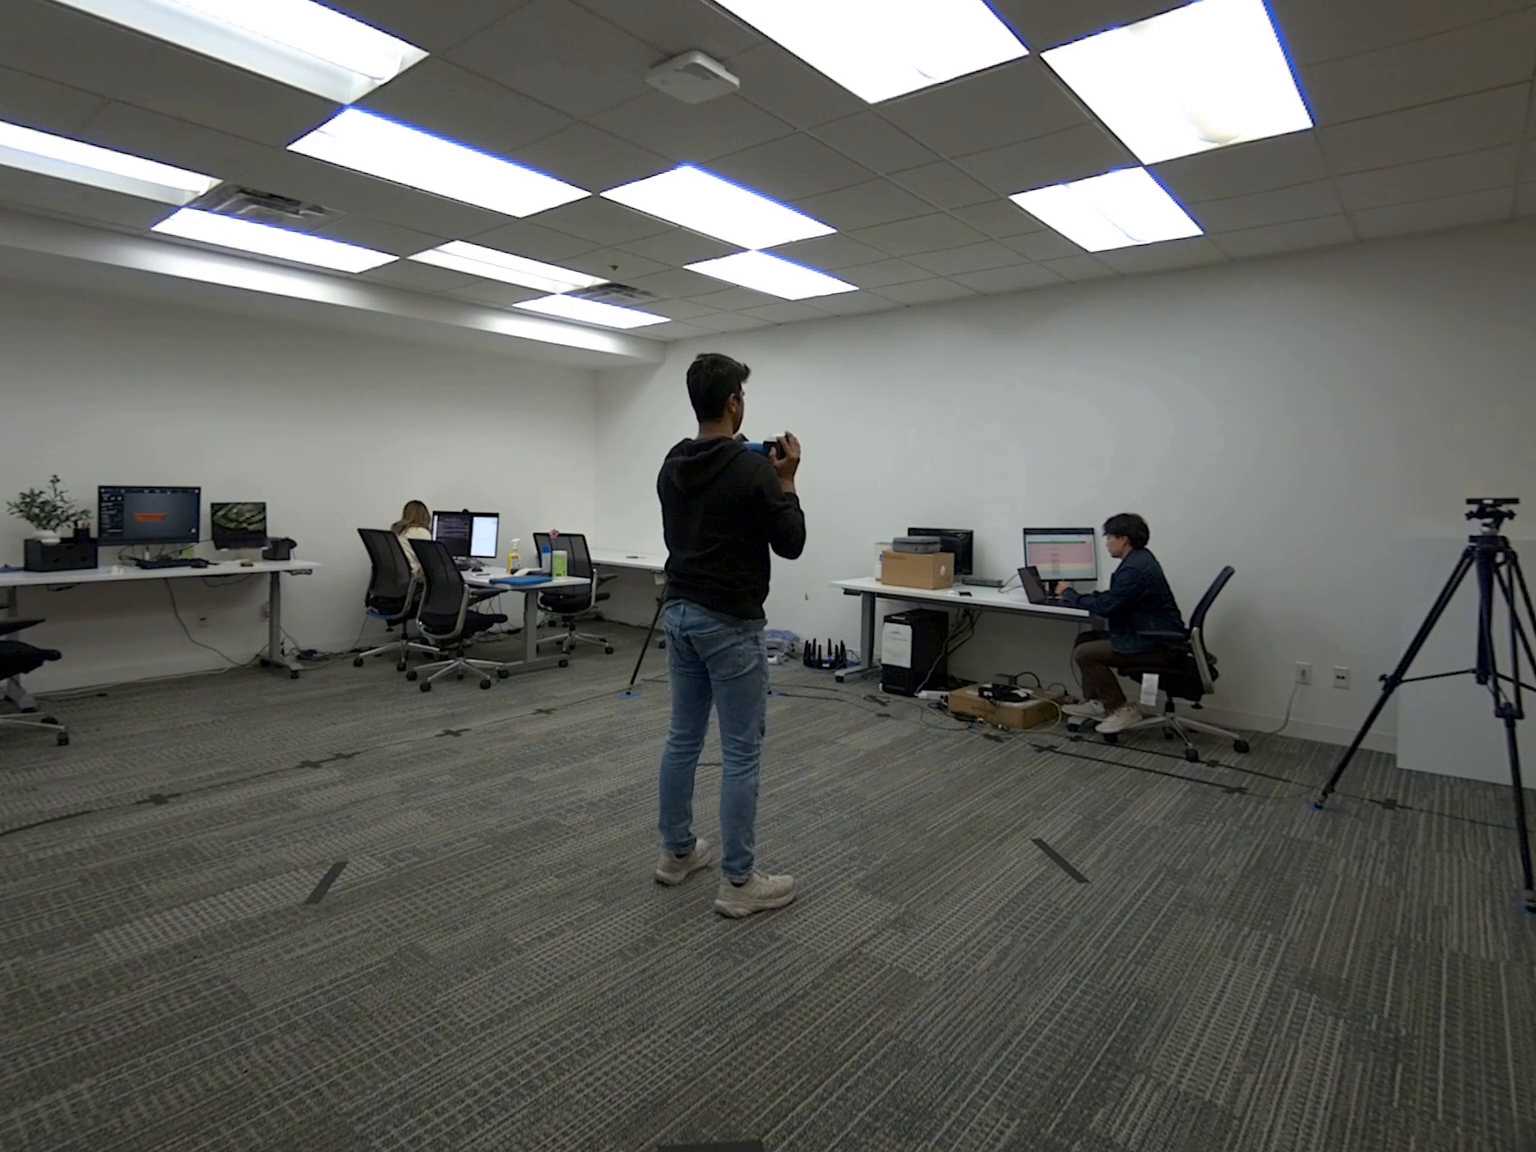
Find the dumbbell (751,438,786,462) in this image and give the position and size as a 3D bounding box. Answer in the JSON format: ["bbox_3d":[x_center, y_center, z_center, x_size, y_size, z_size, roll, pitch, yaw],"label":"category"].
[{"bbox_3d":[-0.057,-0.440,3.030,0.304,0.122,0.105,10,10,42],"label":"dumbbell"}]
